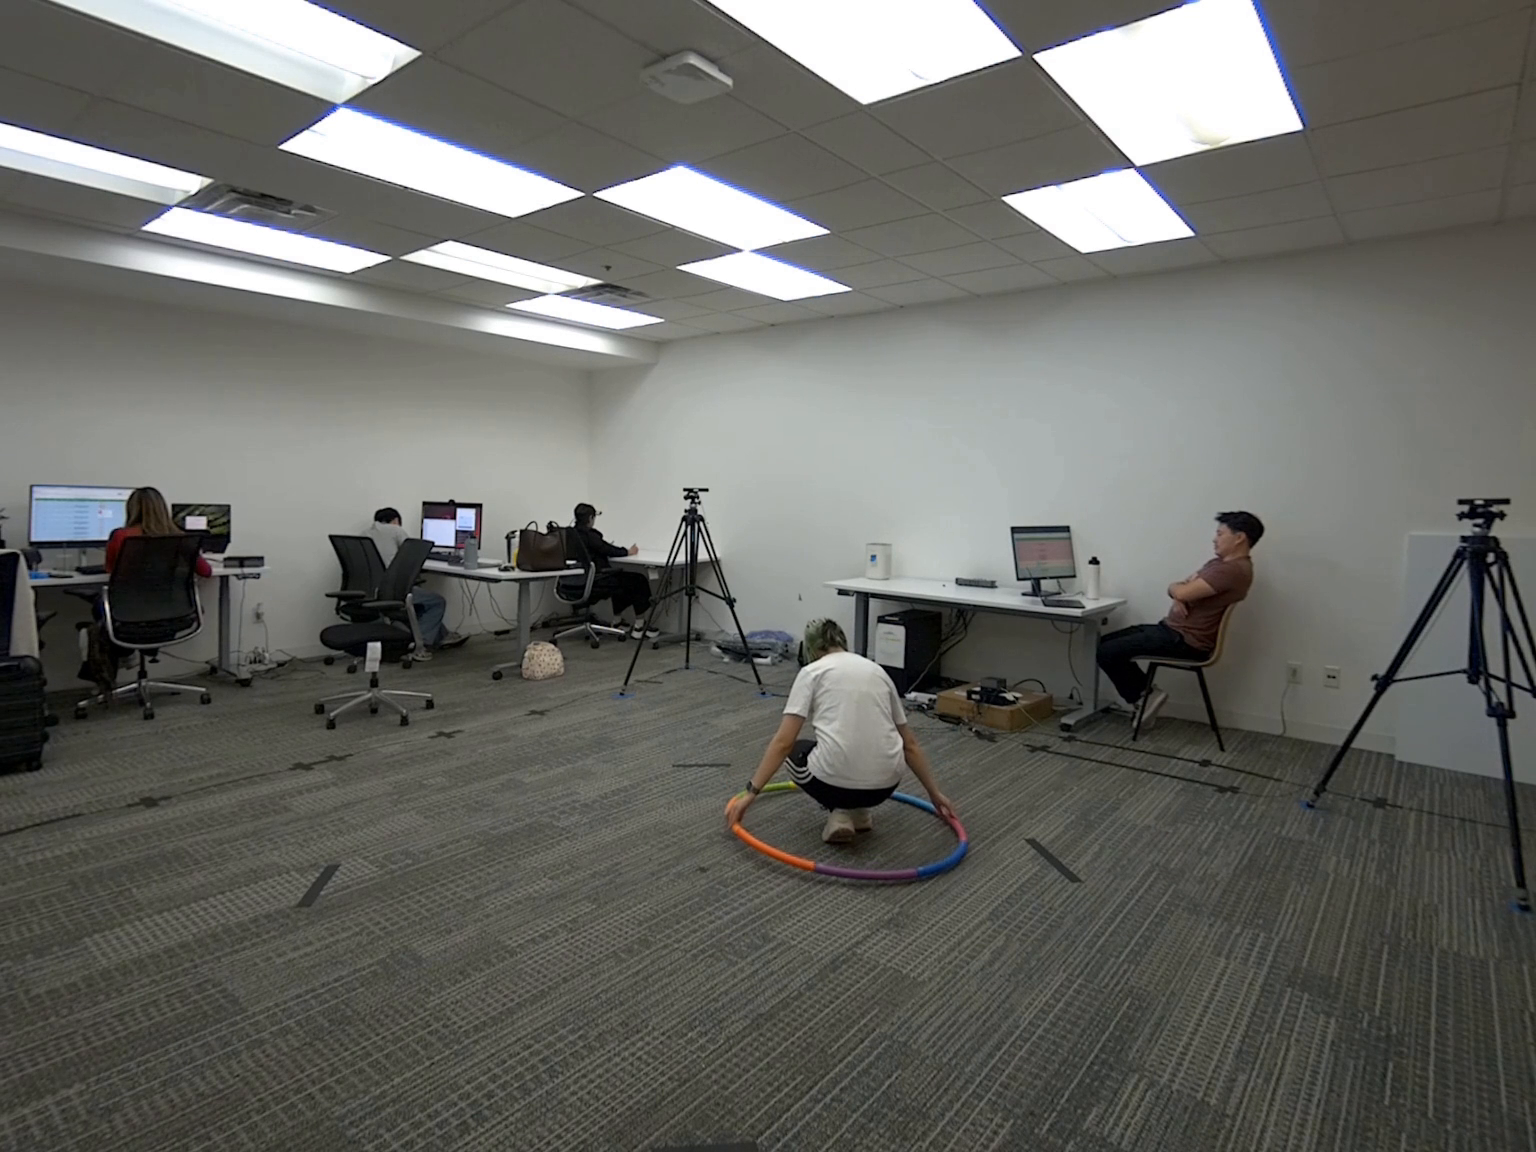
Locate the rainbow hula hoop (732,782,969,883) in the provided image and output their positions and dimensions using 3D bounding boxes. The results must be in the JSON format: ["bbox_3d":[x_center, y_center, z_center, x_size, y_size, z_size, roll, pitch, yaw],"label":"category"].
[{"bbox_3d":[0.303,0.998,3.487,0.984,0.051,0.990,3,5,-2],"label":"rainbow hula hoop"}]
